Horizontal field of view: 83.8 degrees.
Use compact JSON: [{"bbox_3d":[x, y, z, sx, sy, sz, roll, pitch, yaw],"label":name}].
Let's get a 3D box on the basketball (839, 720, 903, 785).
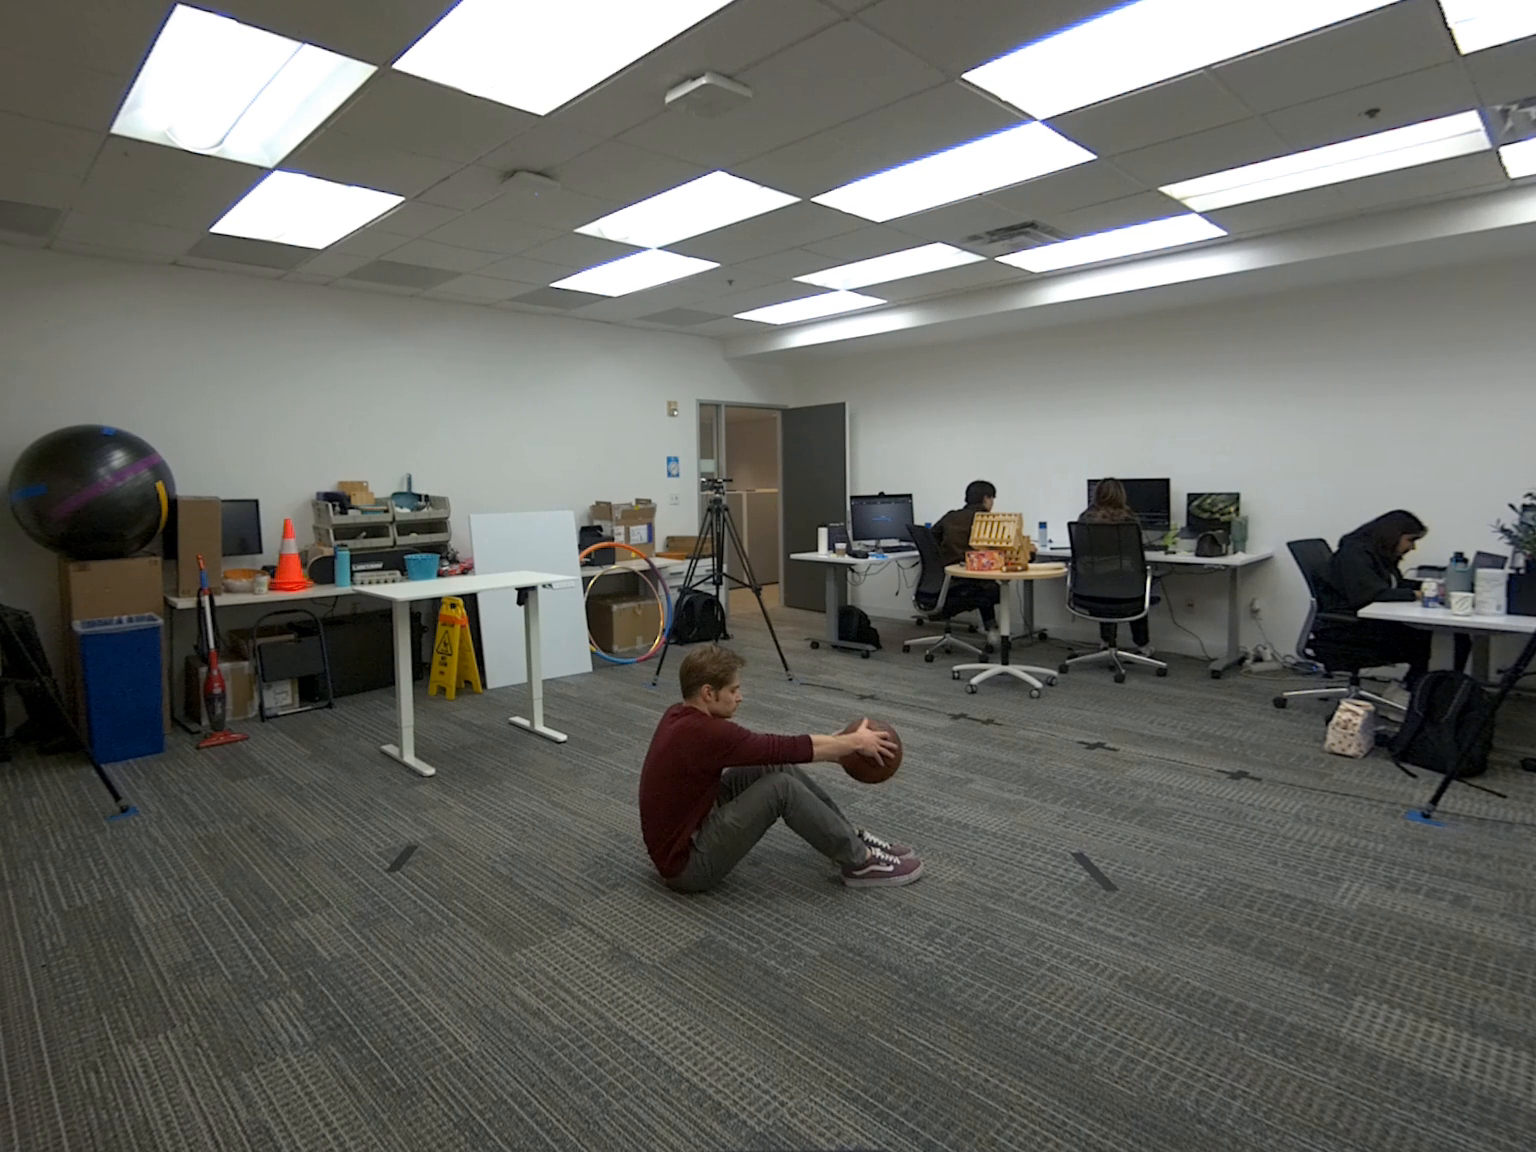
[{"bbox_3d":[0.375,0.666,3.177,0.236,0.235,0.237,-1,5,-2],"label":"basketball"}]
